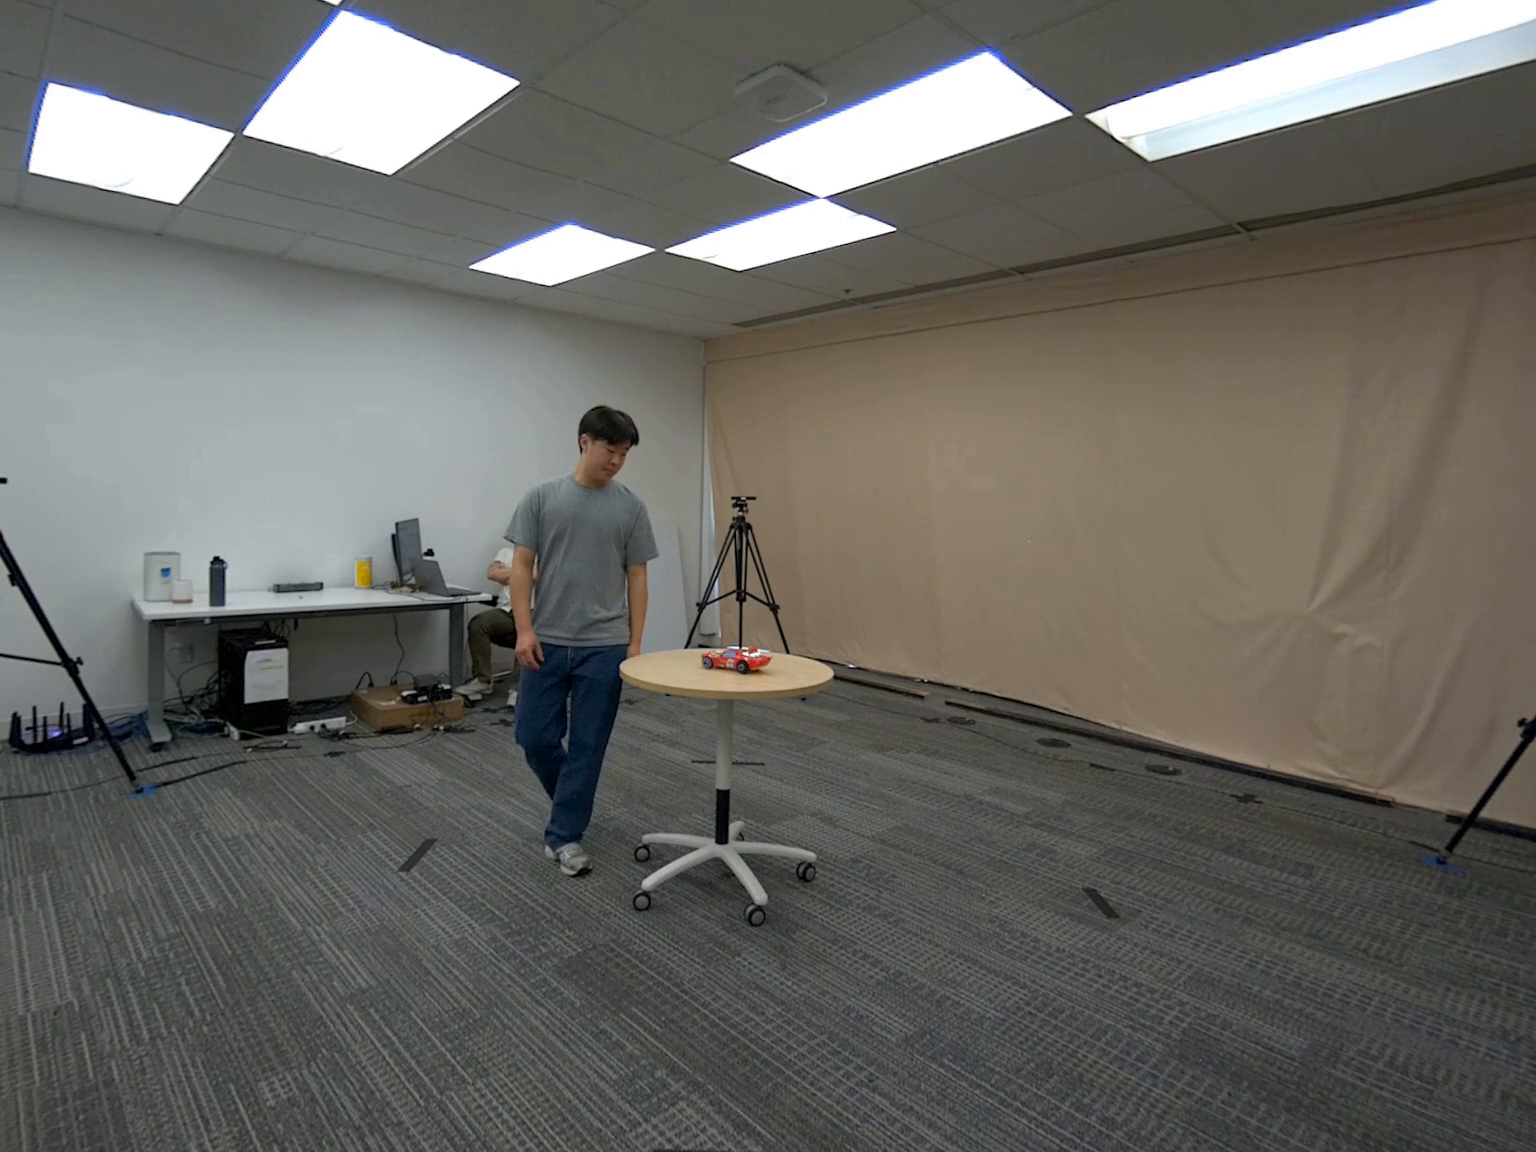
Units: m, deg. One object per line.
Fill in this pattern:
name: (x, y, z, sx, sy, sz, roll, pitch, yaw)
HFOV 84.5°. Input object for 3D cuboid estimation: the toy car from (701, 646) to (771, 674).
toy car: (-0.116, 0.302, 2.985, 0.259, 0.083, 0.128, -8, -2, 30)
